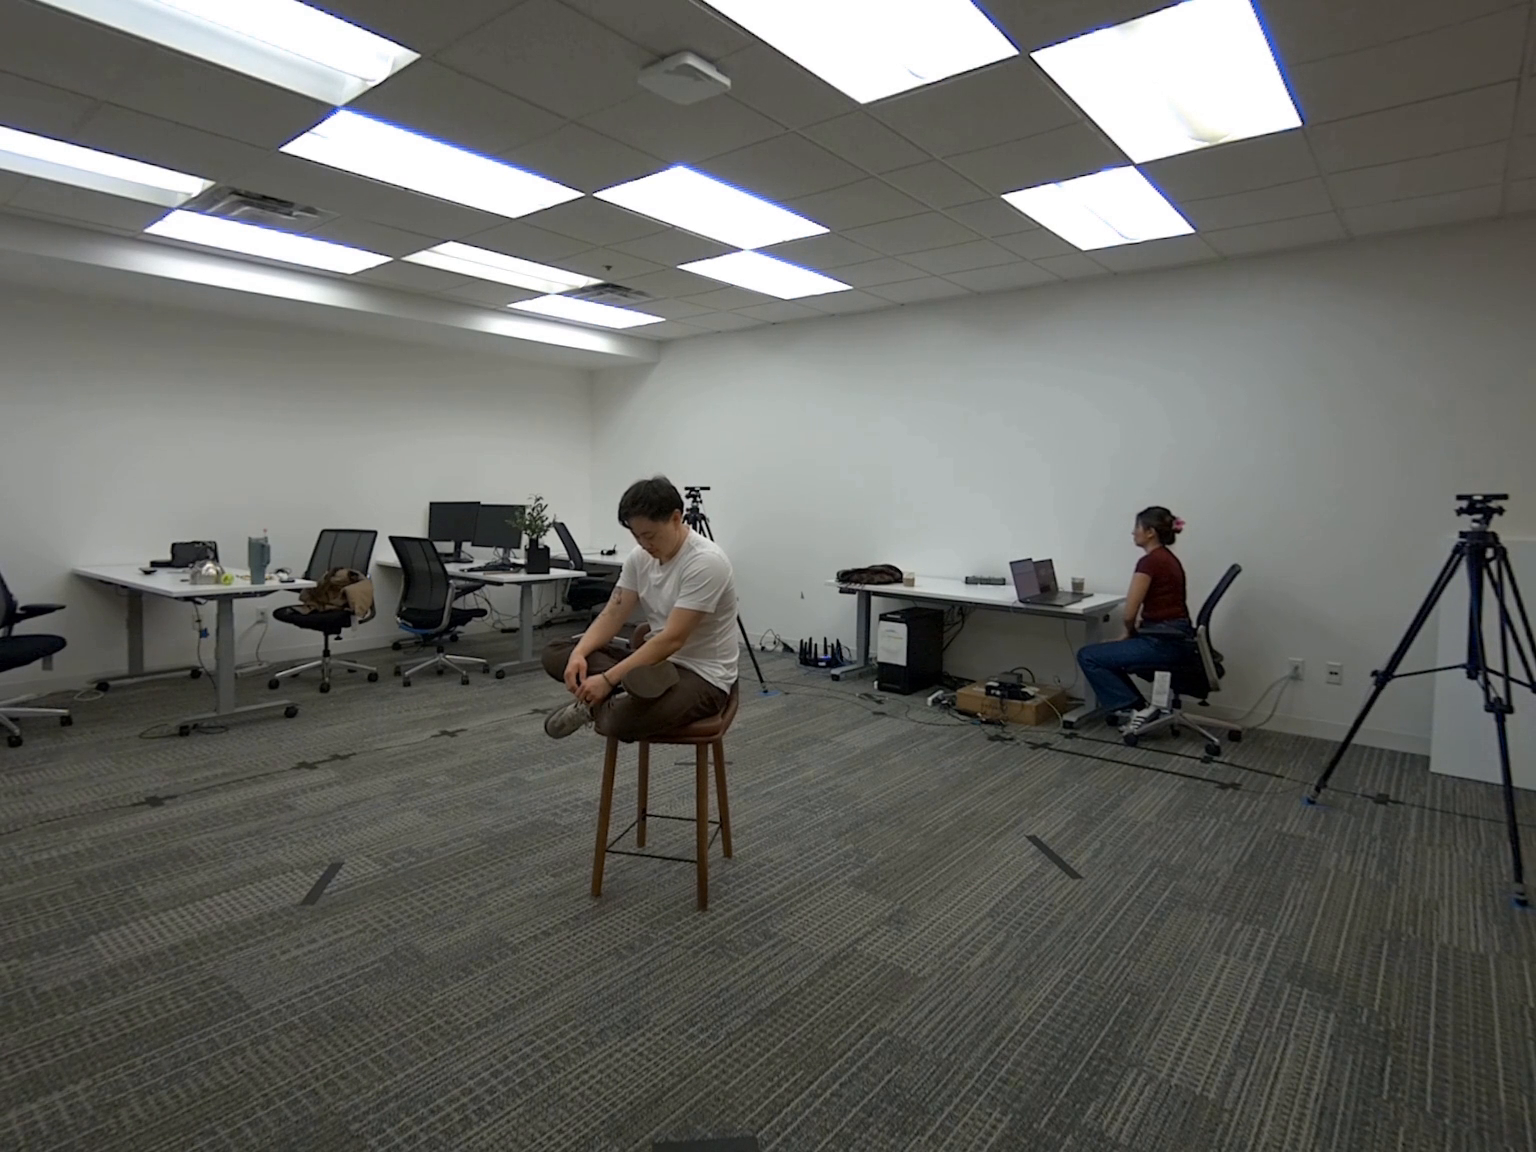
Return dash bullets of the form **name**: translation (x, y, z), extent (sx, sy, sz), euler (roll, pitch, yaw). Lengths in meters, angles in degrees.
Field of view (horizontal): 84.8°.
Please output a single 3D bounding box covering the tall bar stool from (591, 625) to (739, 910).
- **tall bar stool**: translation (-0.361, 0.639, 3.044), extent (0.464, 0.890, 0.460), euler (1, 1, 14)
